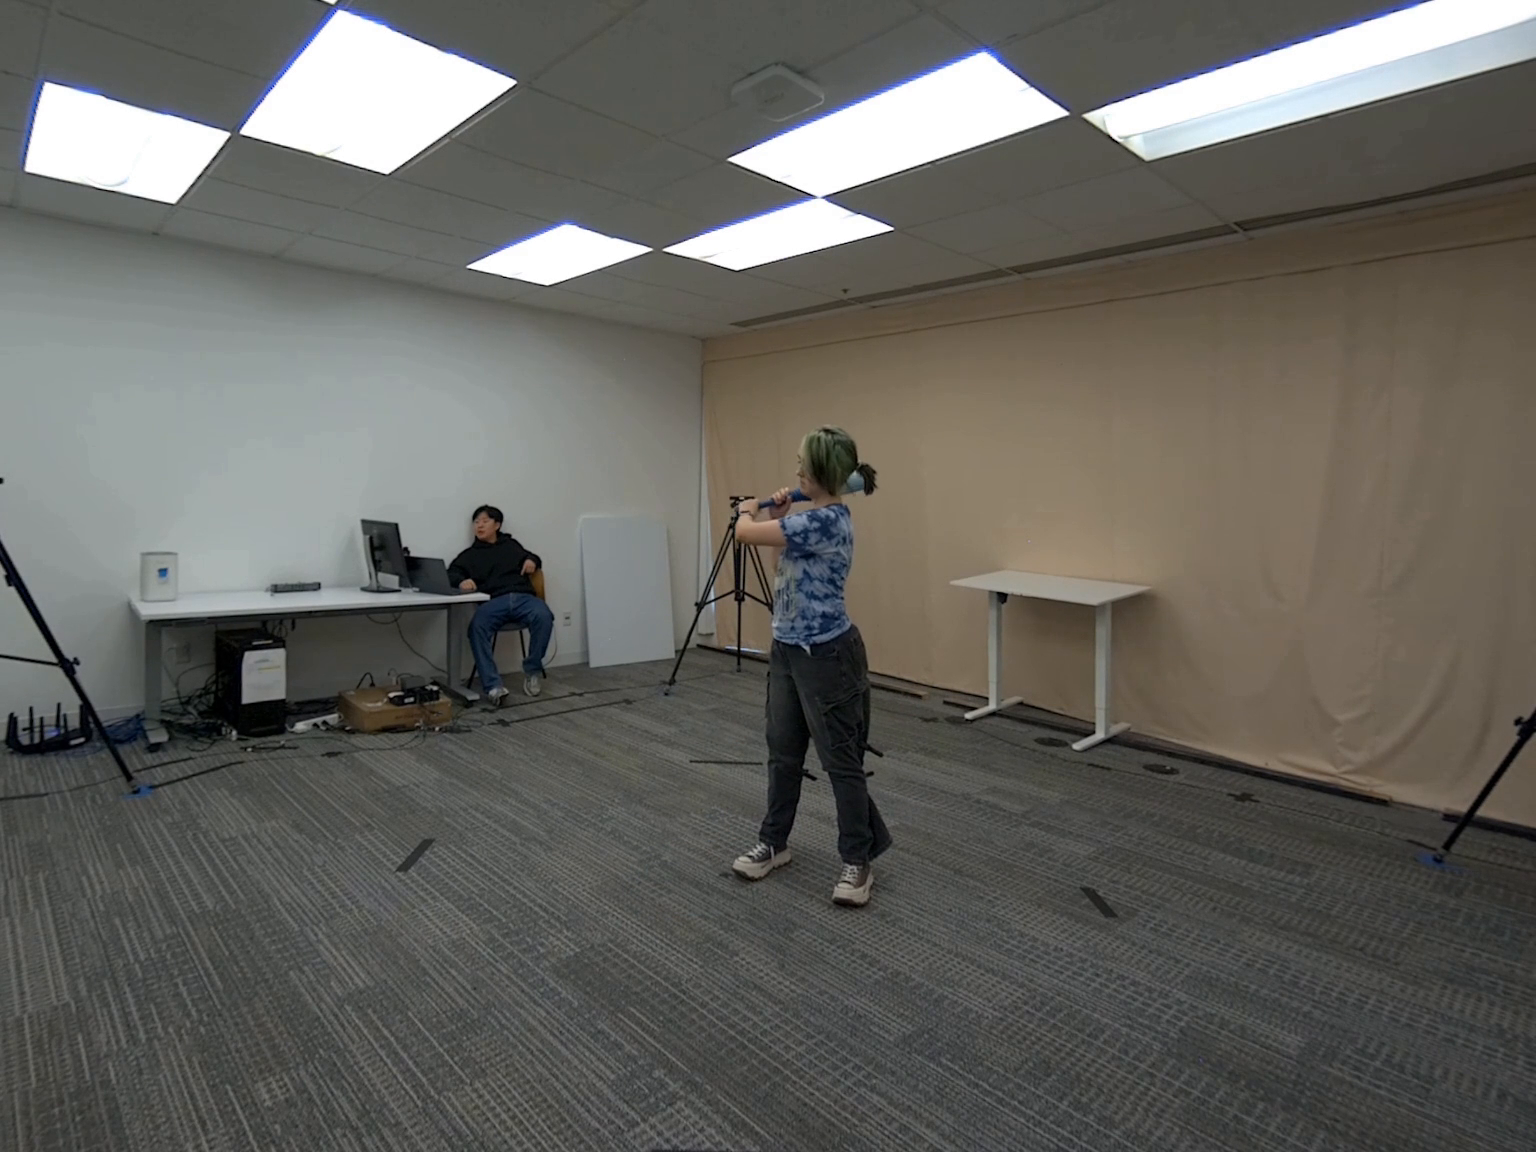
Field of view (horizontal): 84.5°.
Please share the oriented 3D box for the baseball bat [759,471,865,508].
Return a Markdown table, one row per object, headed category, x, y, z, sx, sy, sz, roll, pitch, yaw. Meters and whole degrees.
| category | x | y | z | sx | sy | sz | roll | pitch | yaw |
| --- | --- | --- | --- | --- | --- | --- | --- | --- | --- |
| baseball bat | 0.141 | -0.315 | 3.220 | 0.541 | 0.088 | 0.090 | -15 | 6 | -5 |
